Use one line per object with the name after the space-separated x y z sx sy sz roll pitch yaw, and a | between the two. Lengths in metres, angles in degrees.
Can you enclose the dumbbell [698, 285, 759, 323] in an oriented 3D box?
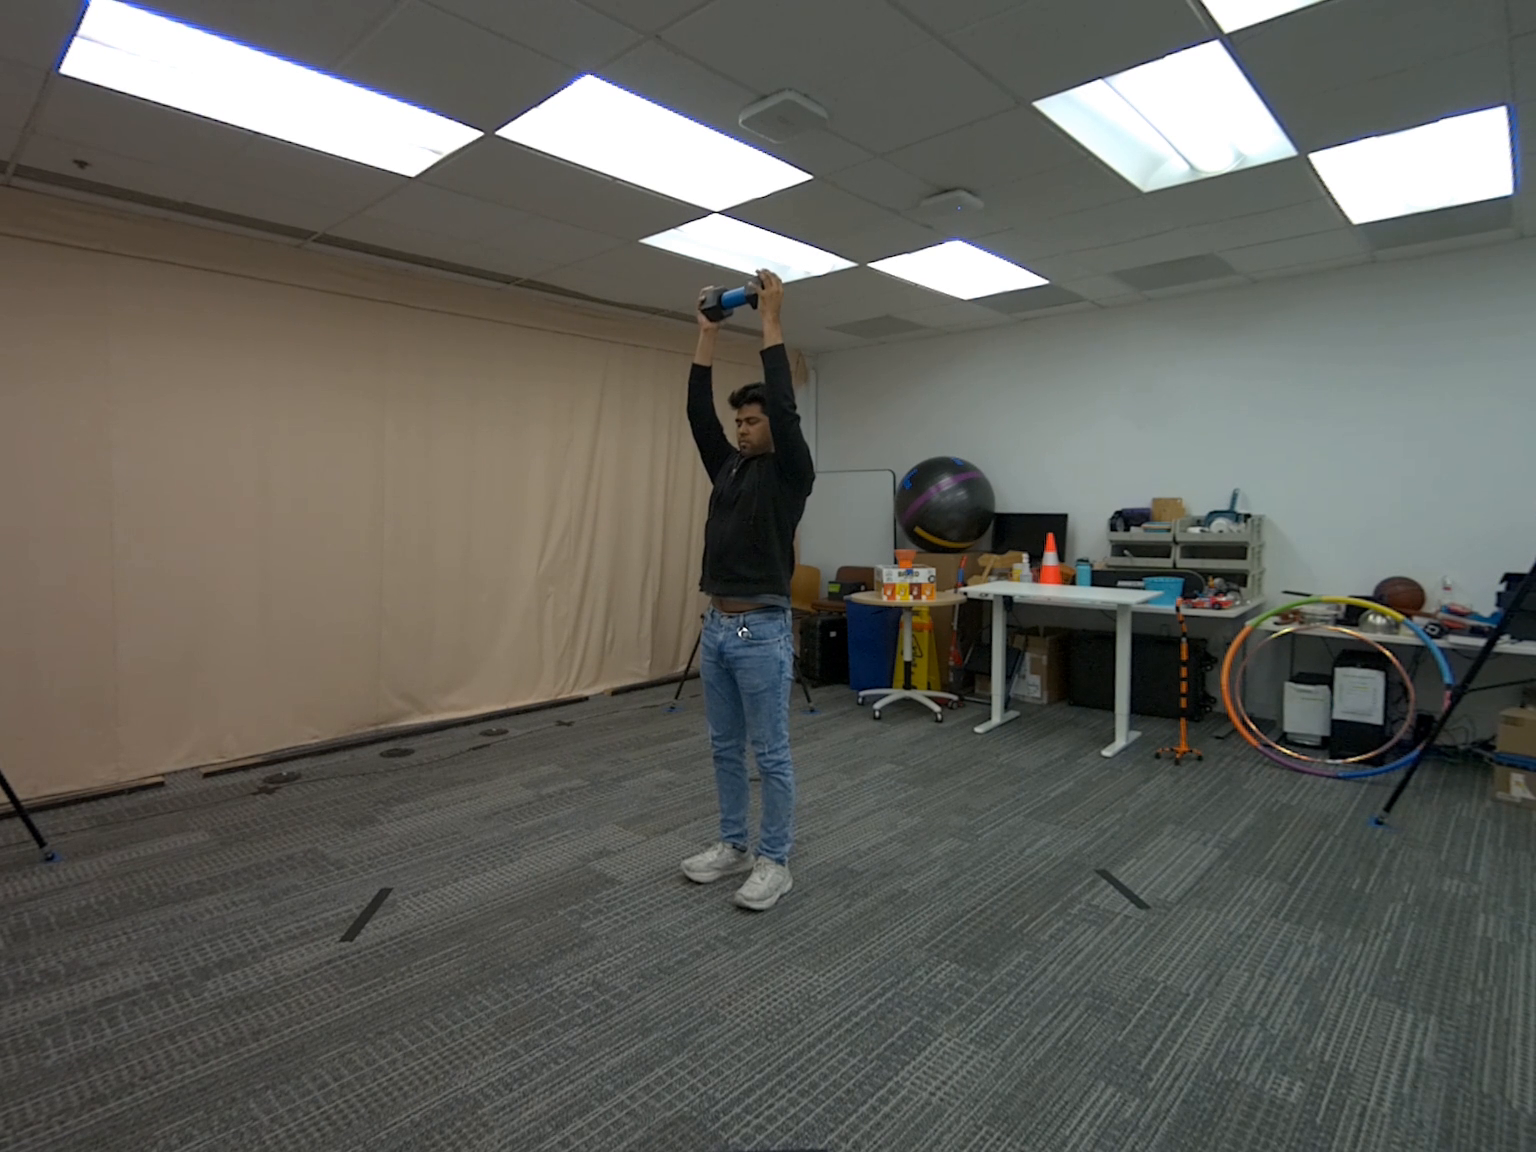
-0.102 -0.969 2.932 0.303 0.107 0.121 2 23 43 | dumbbell
